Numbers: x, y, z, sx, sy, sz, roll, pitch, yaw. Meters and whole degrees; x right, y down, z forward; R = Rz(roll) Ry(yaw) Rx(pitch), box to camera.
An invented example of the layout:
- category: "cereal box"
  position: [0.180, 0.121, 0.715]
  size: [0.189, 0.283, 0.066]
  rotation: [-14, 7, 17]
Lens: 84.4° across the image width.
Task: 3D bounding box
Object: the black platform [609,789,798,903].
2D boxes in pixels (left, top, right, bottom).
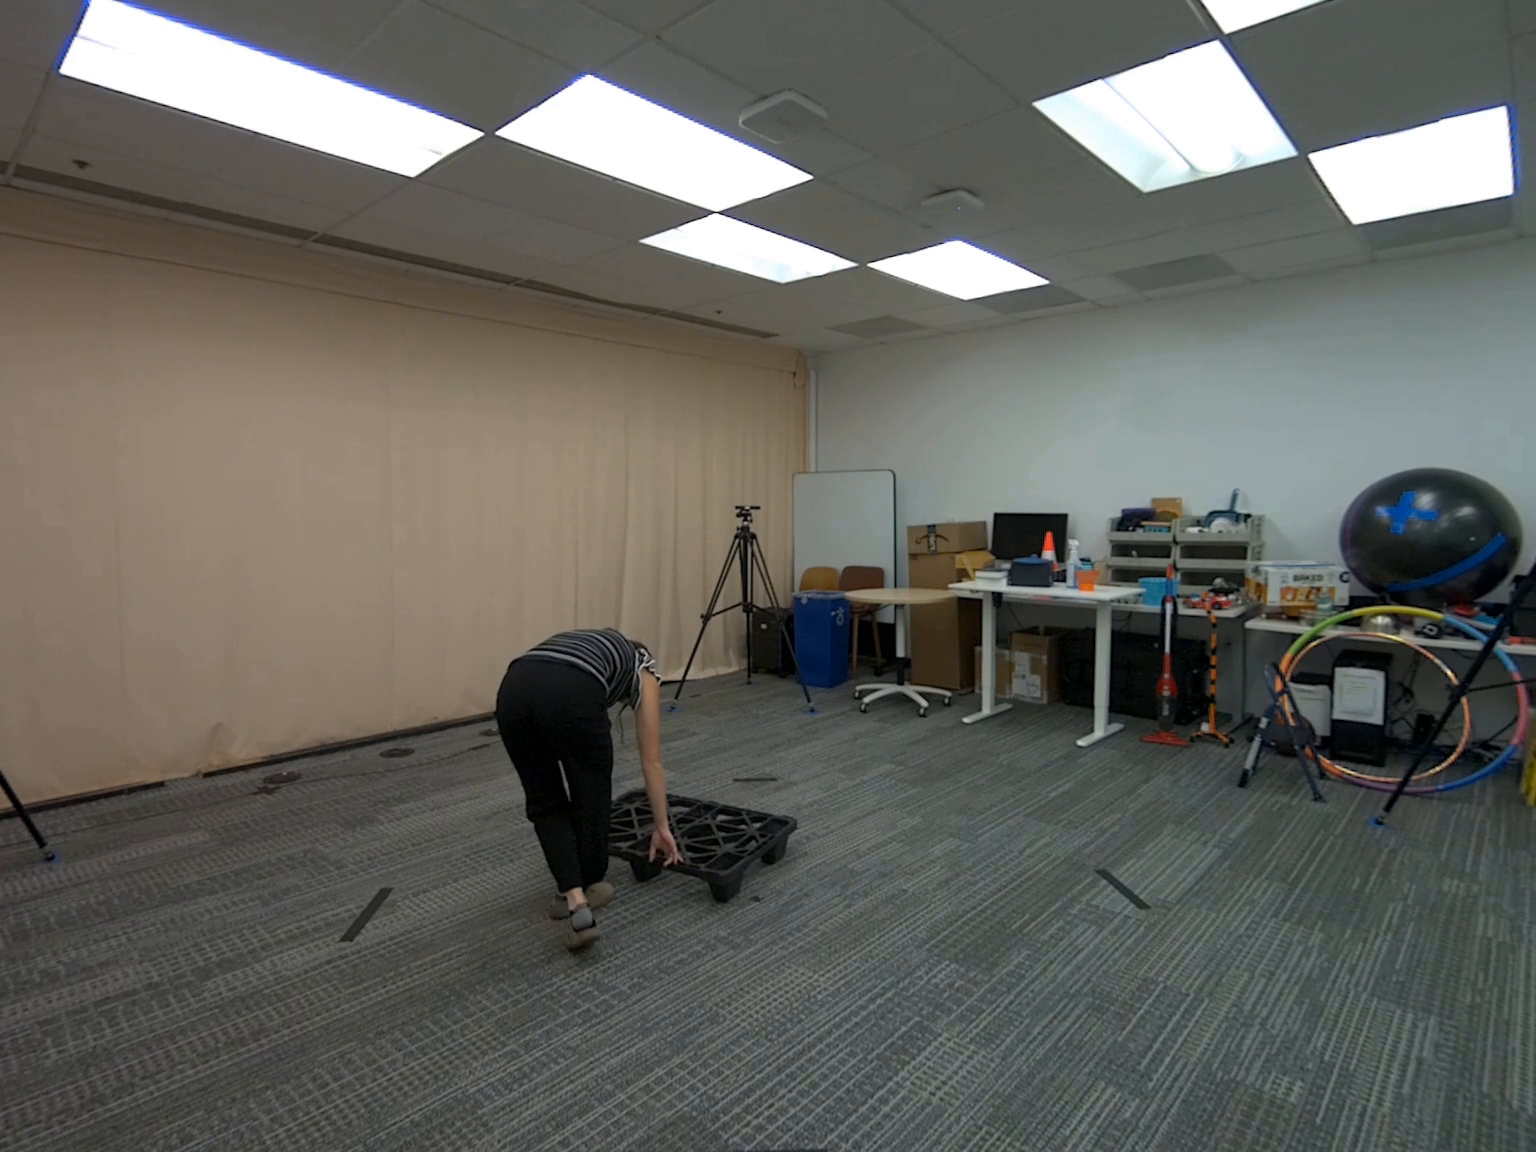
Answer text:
- category: "black platform"
  position: [-0.363, 1.048, 3.332]
  size: [0.828, 0.143, 0.590]
  rotation: [2, 5, 29]
